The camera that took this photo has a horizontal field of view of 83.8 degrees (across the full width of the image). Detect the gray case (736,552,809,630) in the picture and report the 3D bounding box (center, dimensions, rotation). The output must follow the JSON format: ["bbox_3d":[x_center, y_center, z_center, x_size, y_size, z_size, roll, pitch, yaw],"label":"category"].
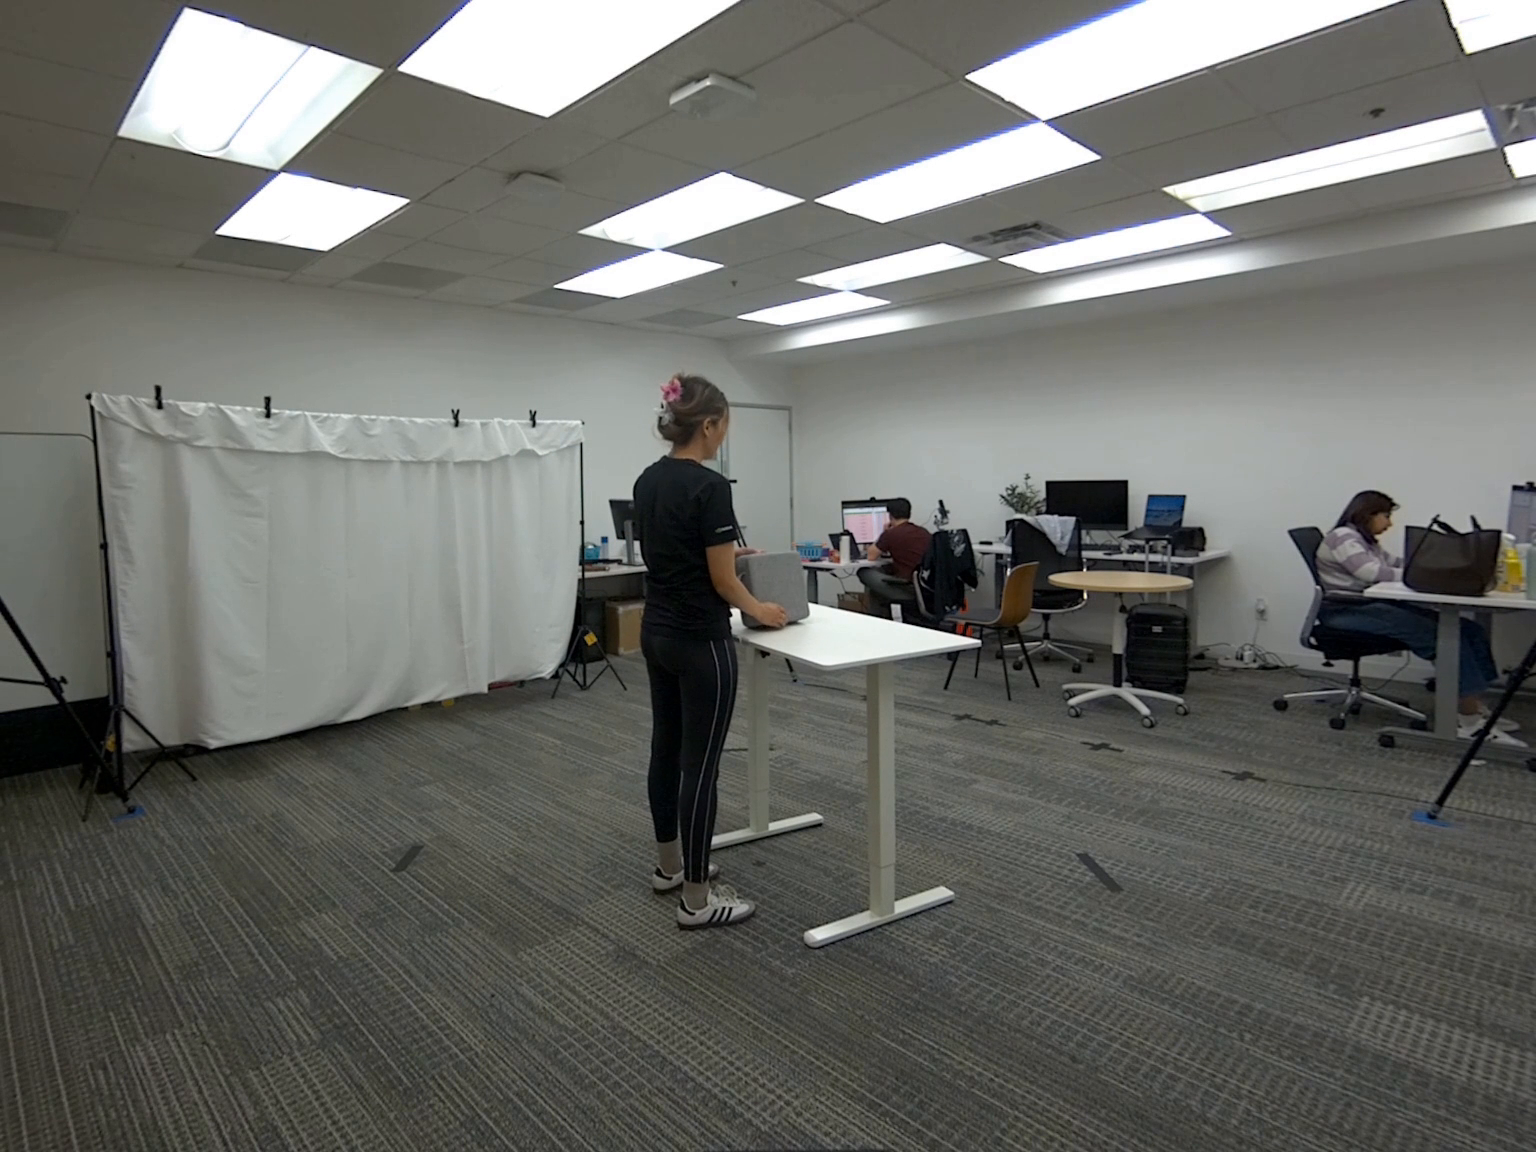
[{"bbox_3d":[0.016,0.040,3.008,0.254,0.257,0.107,-5,-2,-35],"label":"gray case"}]
